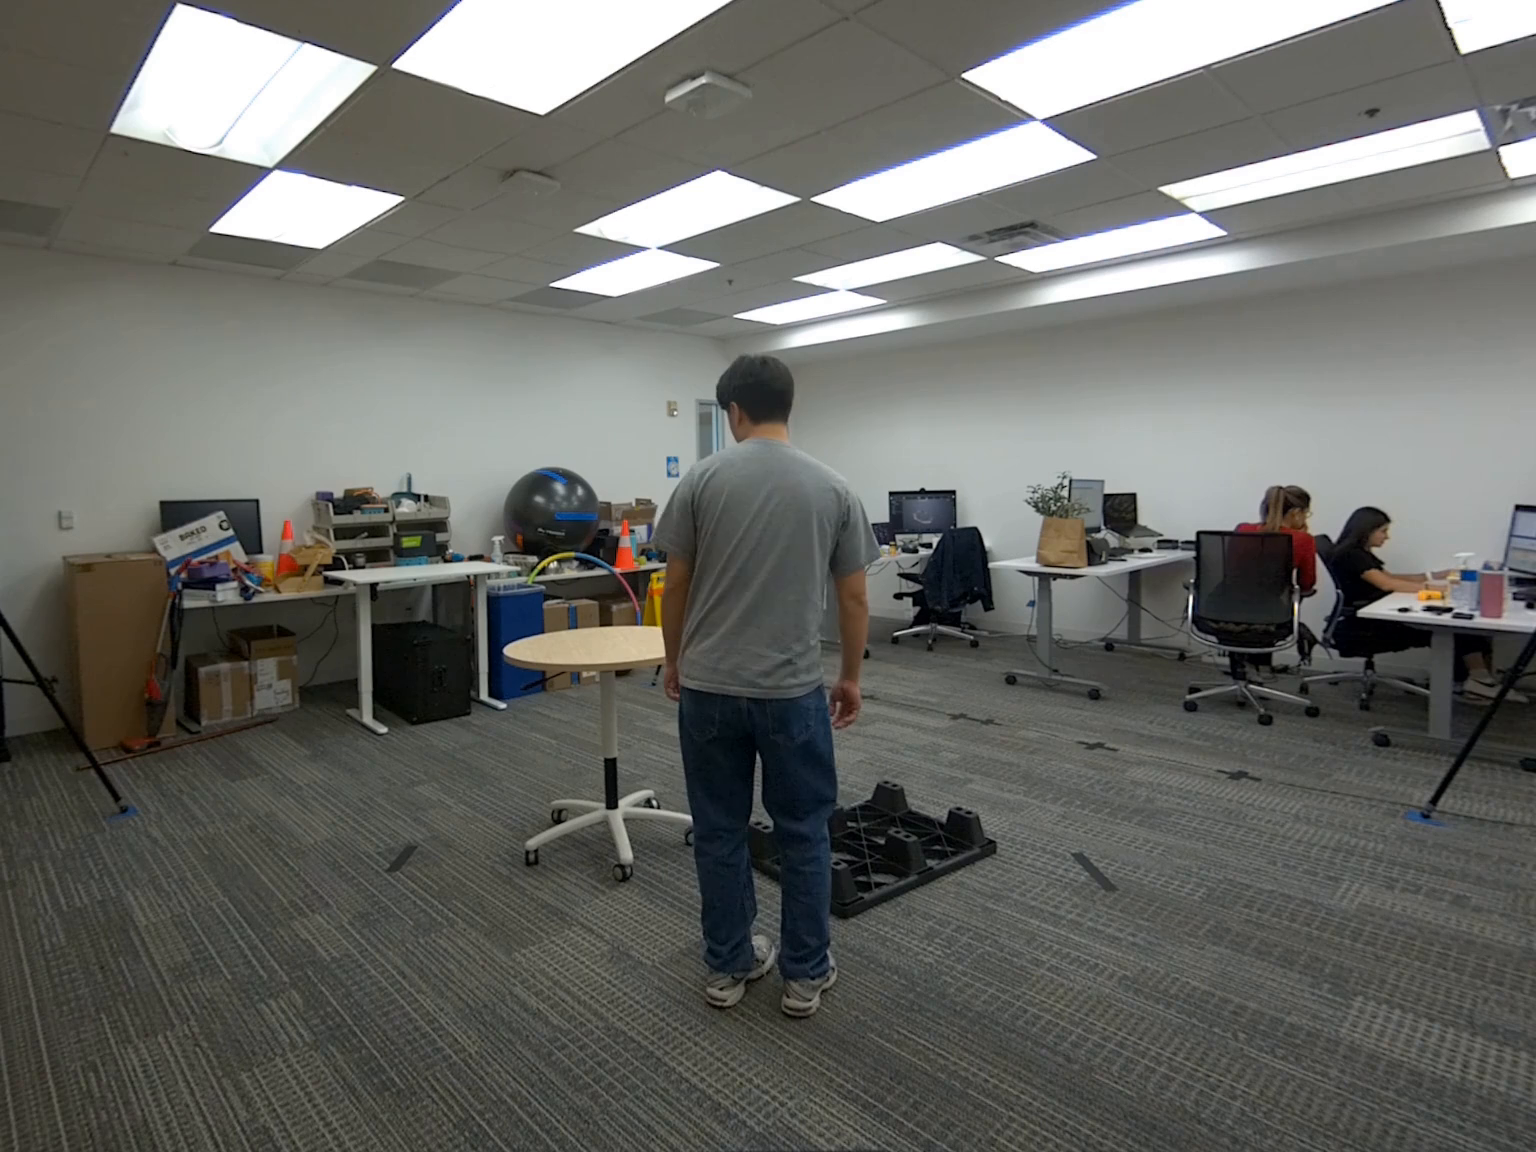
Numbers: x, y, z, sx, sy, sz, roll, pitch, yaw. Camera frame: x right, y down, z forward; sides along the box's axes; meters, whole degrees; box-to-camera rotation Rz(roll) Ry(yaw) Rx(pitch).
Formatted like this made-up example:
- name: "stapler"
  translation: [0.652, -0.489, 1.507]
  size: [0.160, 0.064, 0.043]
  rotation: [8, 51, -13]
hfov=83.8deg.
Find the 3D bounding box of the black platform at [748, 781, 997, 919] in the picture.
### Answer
- name: "black platform"
  translation: [0.359, 0.966, 3.170]
  size: [0.785, 0.142, 0.624]
  rotation: [-6, 8, -38]
